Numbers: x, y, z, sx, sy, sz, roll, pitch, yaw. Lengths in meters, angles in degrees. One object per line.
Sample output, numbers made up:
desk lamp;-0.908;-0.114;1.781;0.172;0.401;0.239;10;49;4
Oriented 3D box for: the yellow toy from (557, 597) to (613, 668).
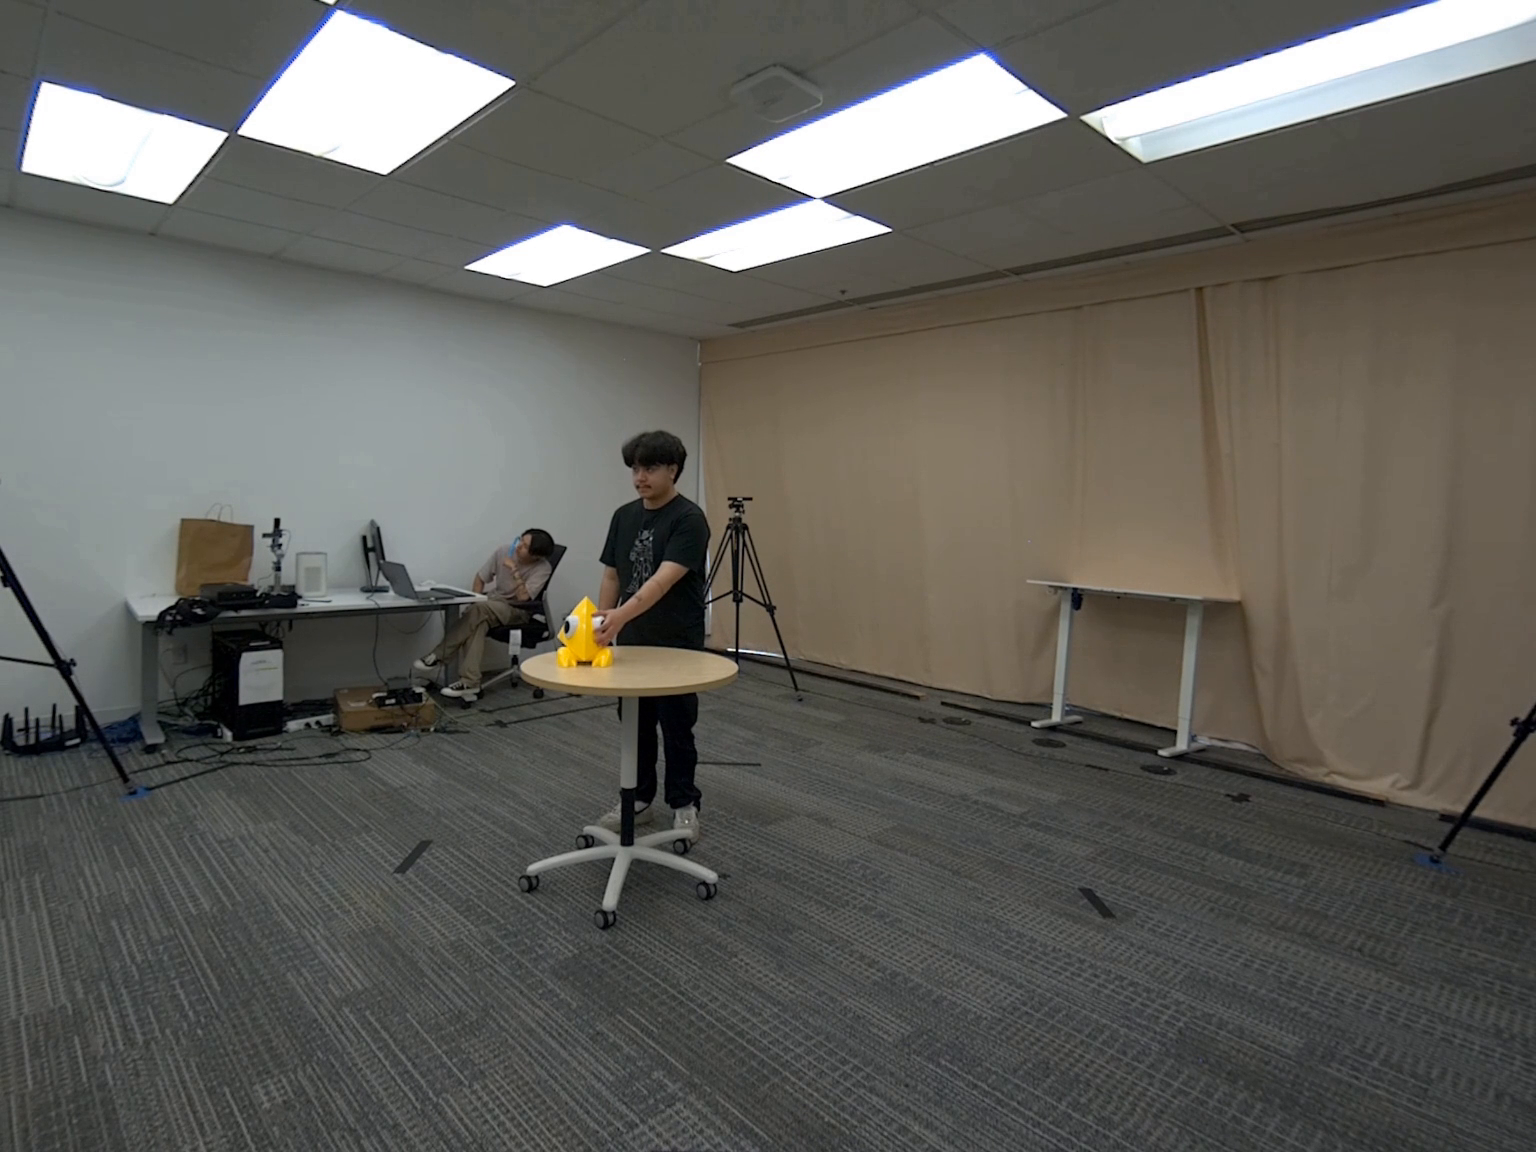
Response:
yellow toy;-0.670;0.197;3.010;0.203;0.230;0.195;2;4;-10
